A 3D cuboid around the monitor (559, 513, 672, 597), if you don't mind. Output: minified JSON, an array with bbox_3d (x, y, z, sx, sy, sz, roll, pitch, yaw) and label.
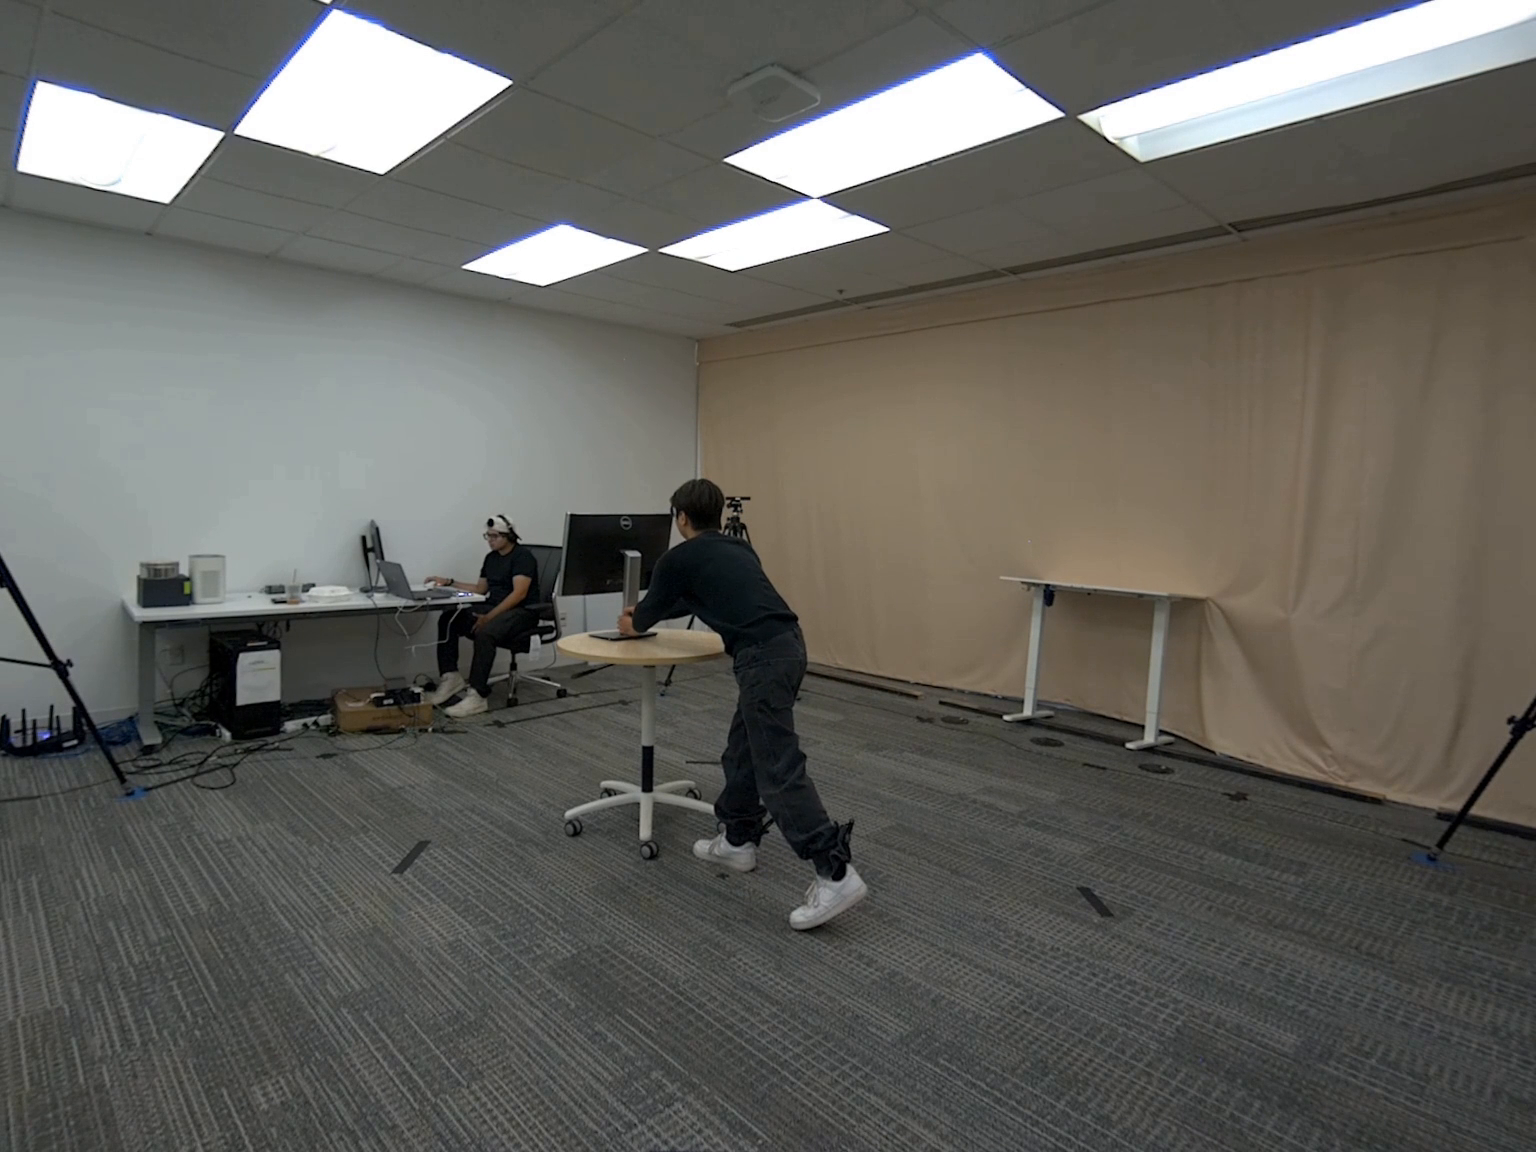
[{"bbox_3d":[-0.646,-0.006,3.683,0.192,0.522,0.527,2,3,43],"label":"monitor"}]
